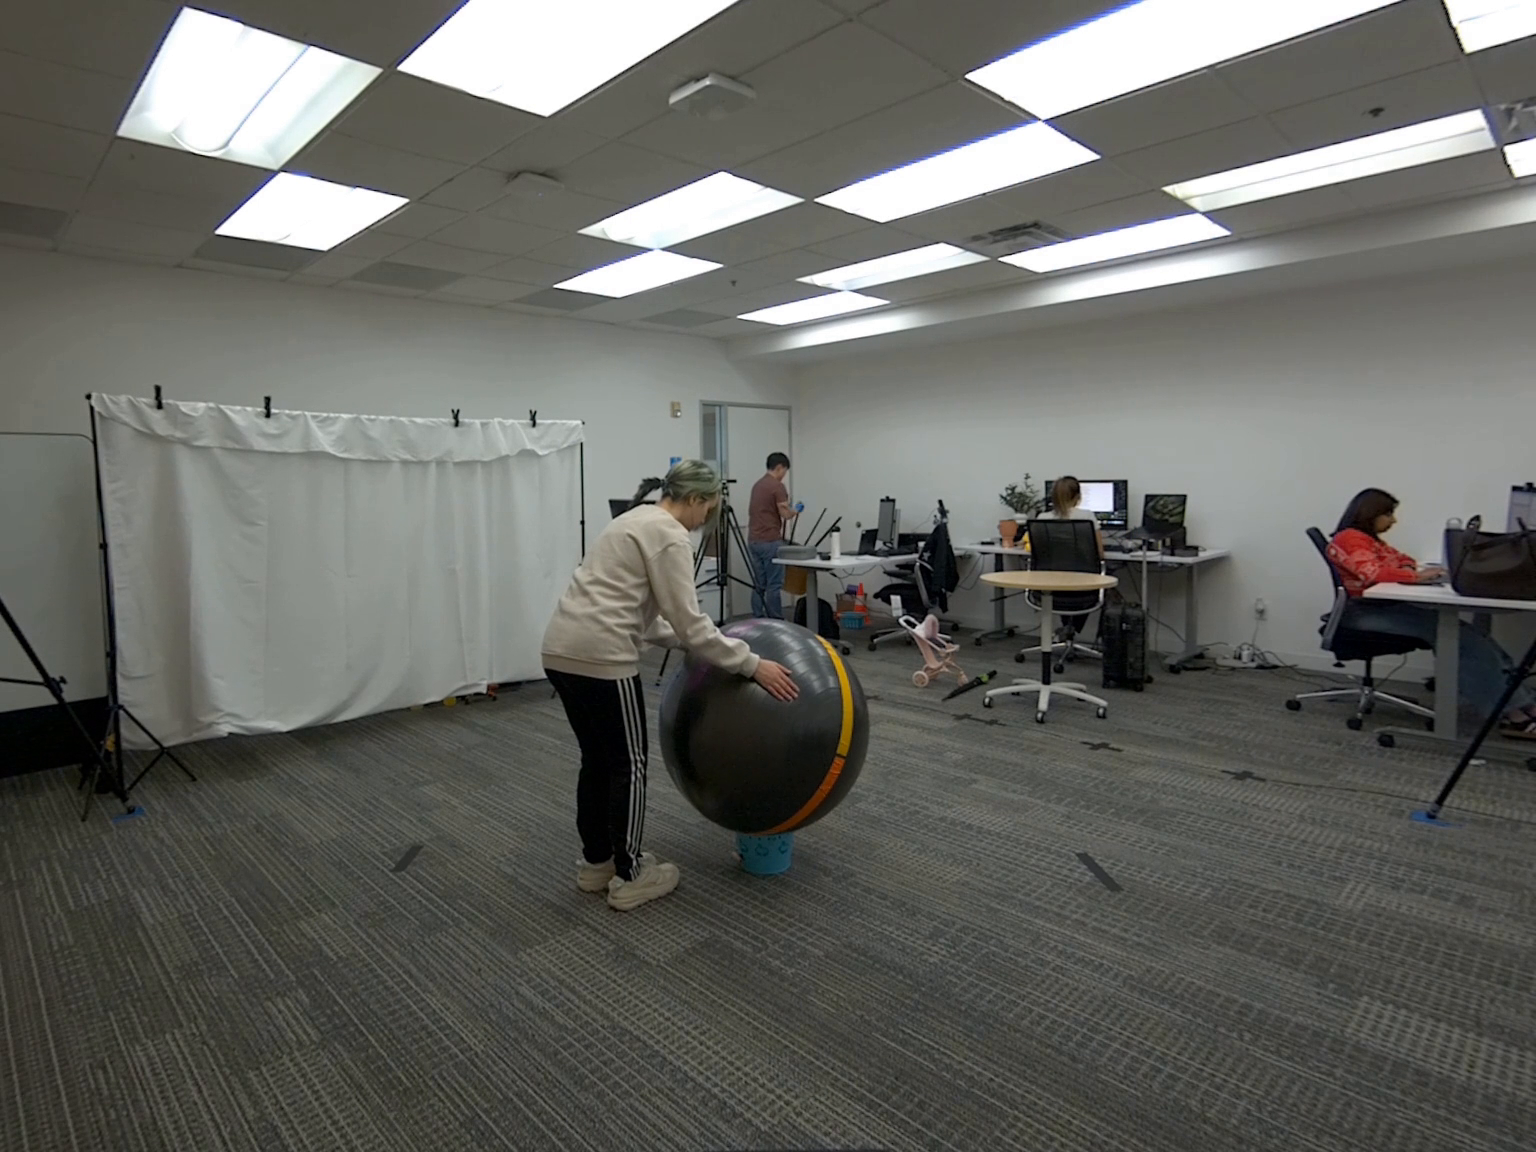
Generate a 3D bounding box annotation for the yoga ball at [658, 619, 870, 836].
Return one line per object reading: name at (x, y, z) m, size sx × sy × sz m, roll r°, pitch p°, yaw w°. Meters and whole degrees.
yoga ball at (-0.014, 0.540, 3.083) m, size 0.757 × 0.755 × 0.762 m, roll -1°, pitch 5°, yaw -2°
